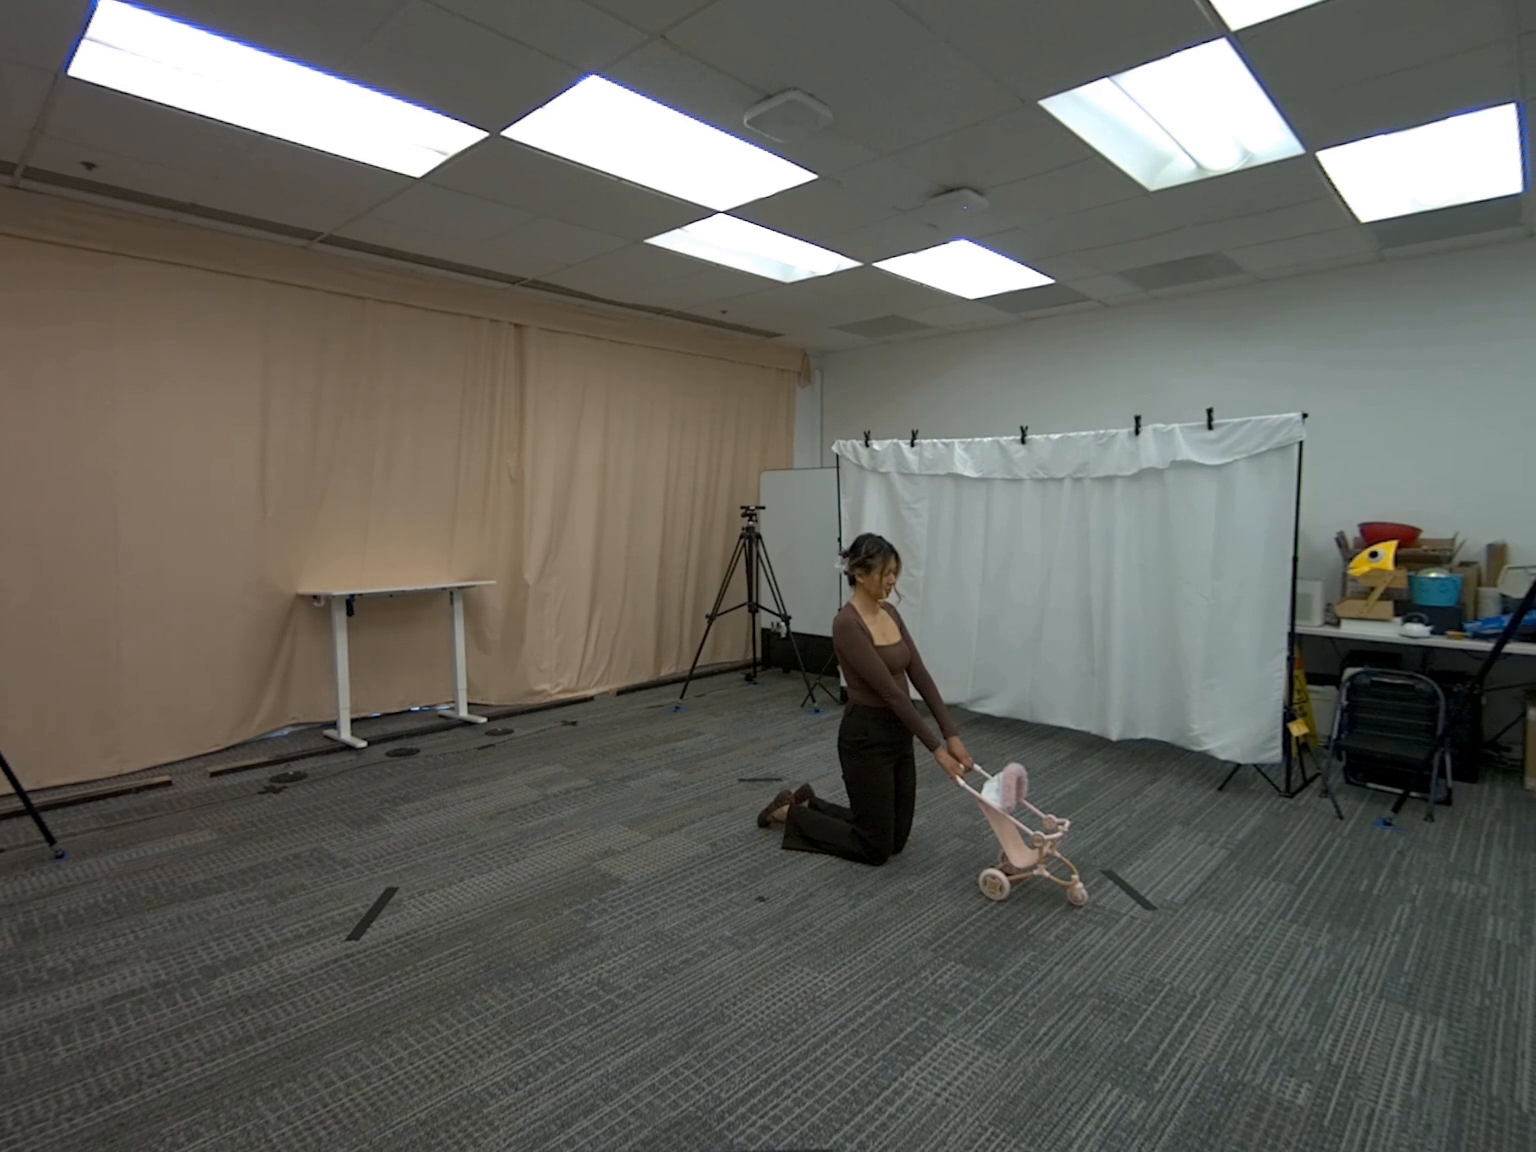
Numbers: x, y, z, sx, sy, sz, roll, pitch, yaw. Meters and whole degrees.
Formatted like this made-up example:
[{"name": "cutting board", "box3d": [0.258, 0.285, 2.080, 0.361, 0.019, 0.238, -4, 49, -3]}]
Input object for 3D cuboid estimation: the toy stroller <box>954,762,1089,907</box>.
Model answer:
[{"name": "toy stroller", "box3d": [0.917, 0.915, 3.027, 0.349, 0.539, 0.273, -20, -9, 37]}]
